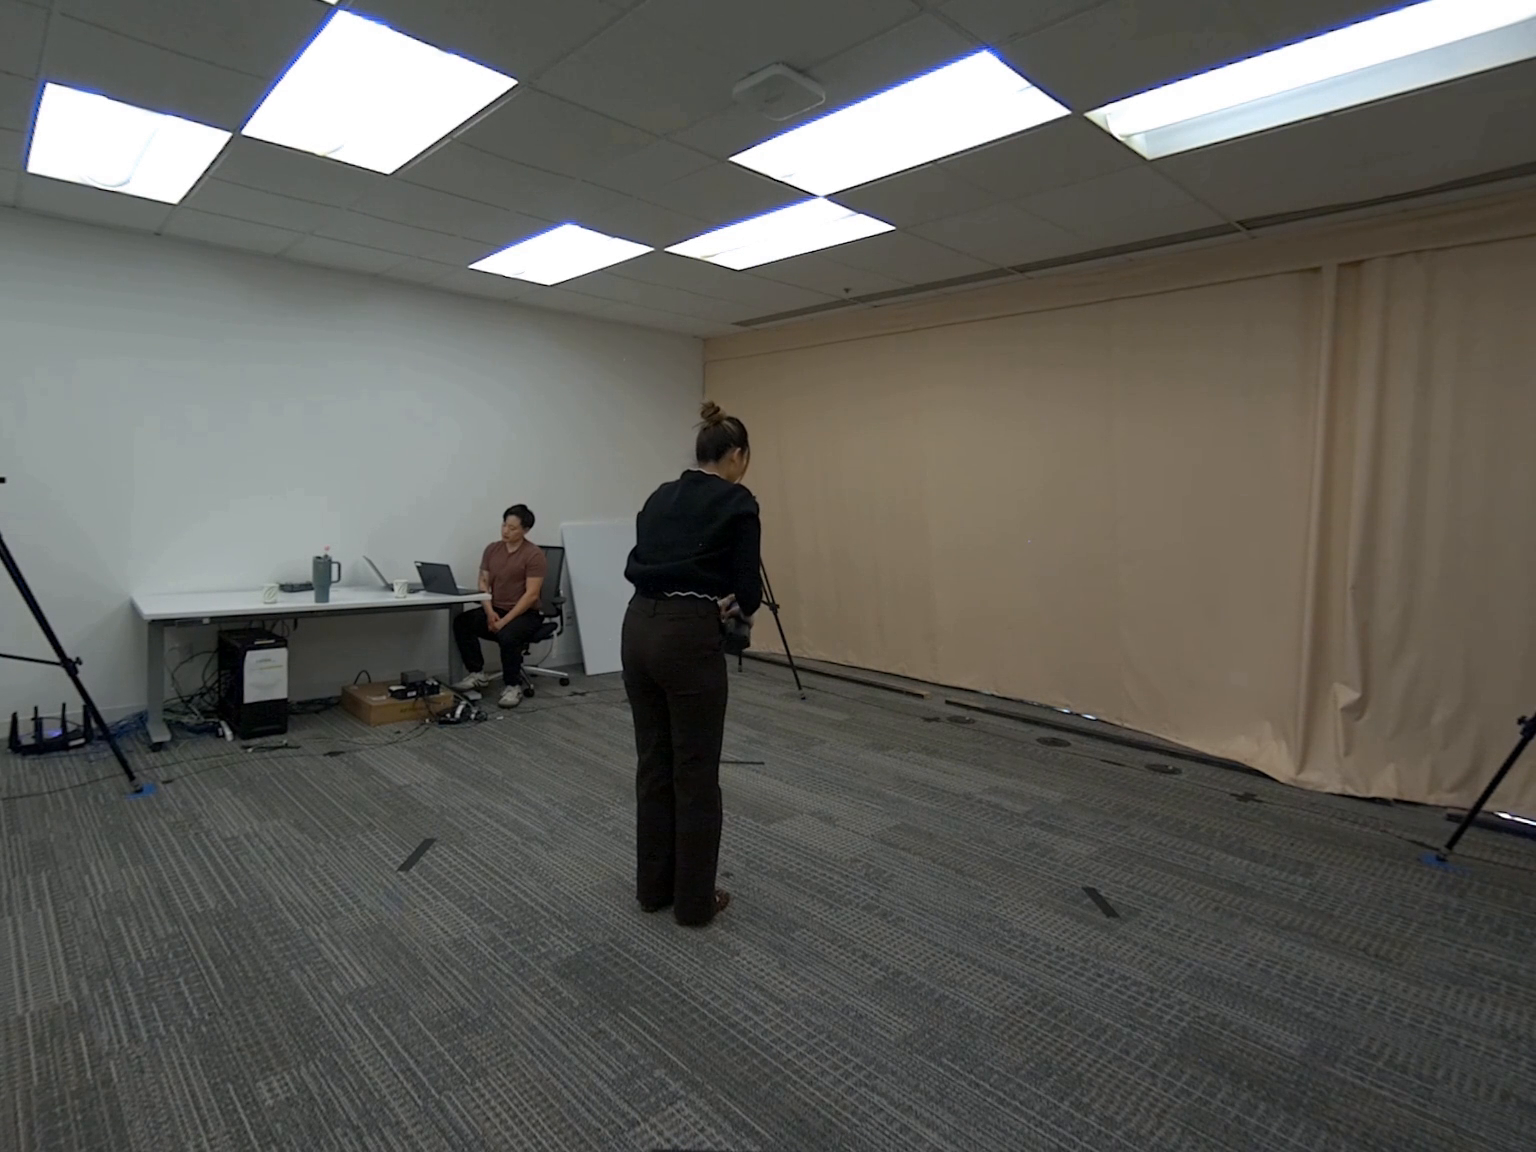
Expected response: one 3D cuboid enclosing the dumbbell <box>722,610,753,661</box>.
[{"bbox_3d":[-0.128,0.135,3.031,0.122,0.299,0.107,14,-40,-10],"label":"dumbbell"}]
